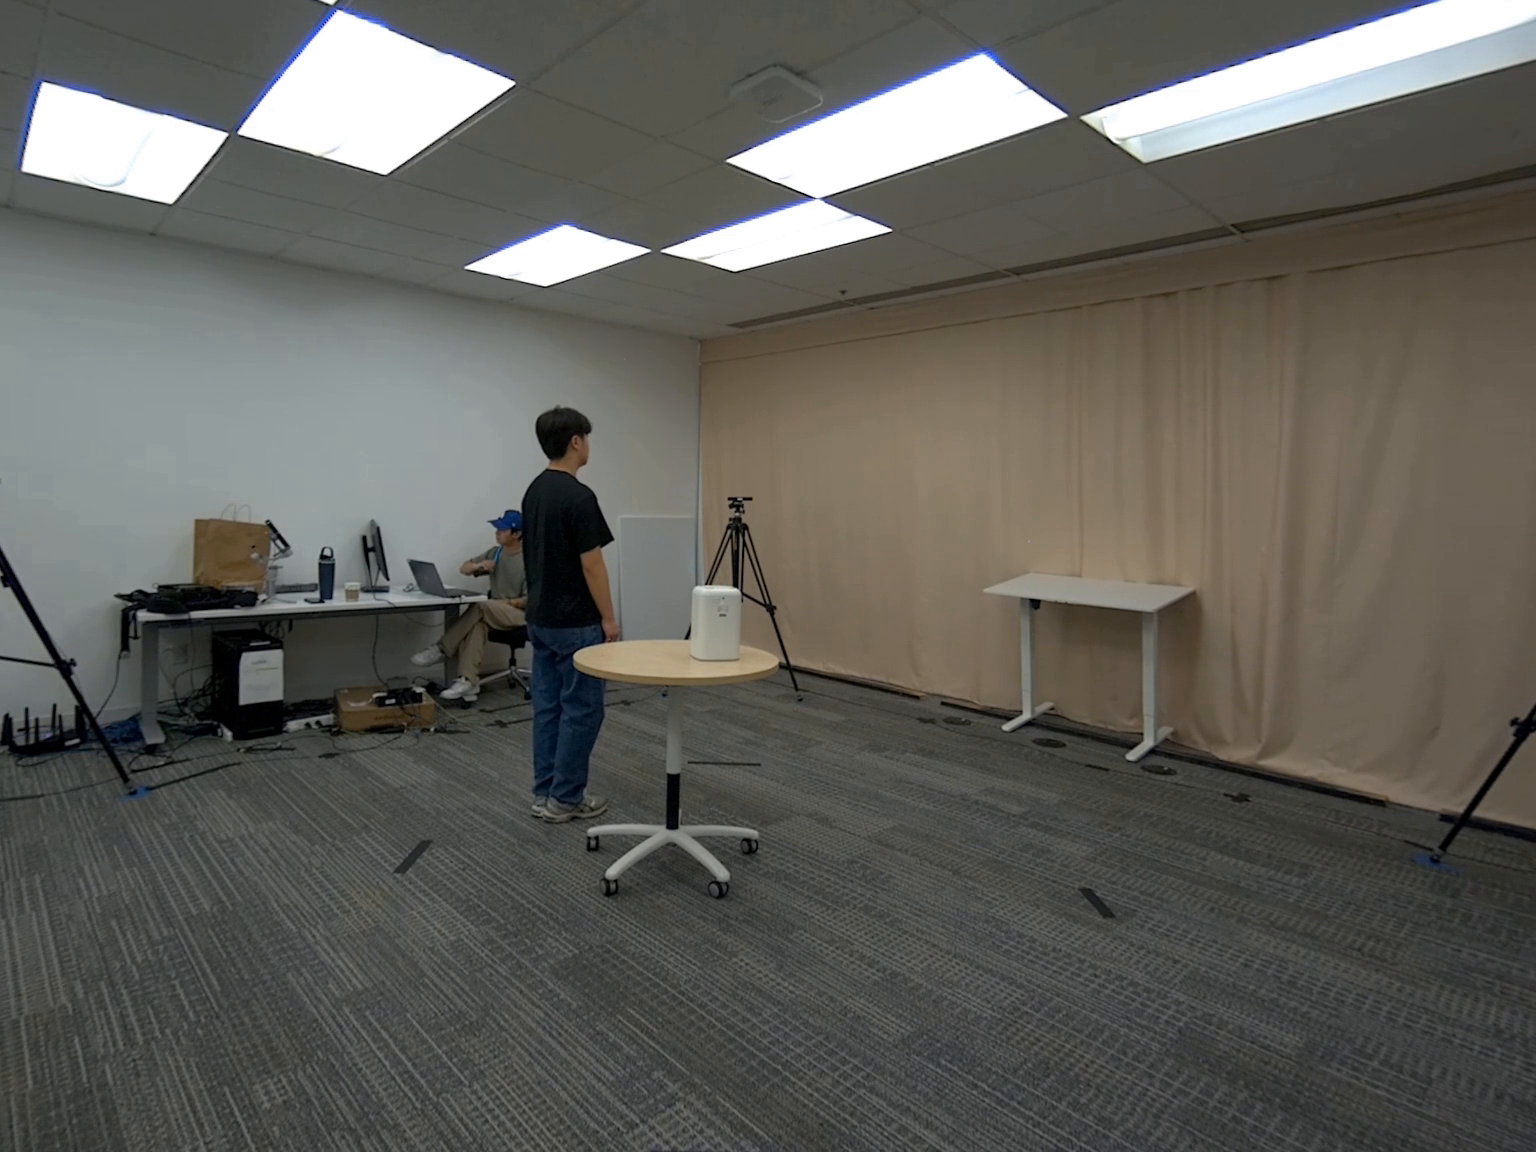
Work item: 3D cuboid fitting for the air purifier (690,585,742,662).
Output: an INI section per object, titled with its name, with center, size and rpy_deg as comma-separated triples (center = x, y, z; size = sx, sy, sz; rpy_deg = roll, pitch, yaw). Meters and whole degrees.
[air purifier]
center = -0.206, 0.173, 3.165
size = 0.169, 0.265, 0.174
rpy_deg = 1, 3, -17
